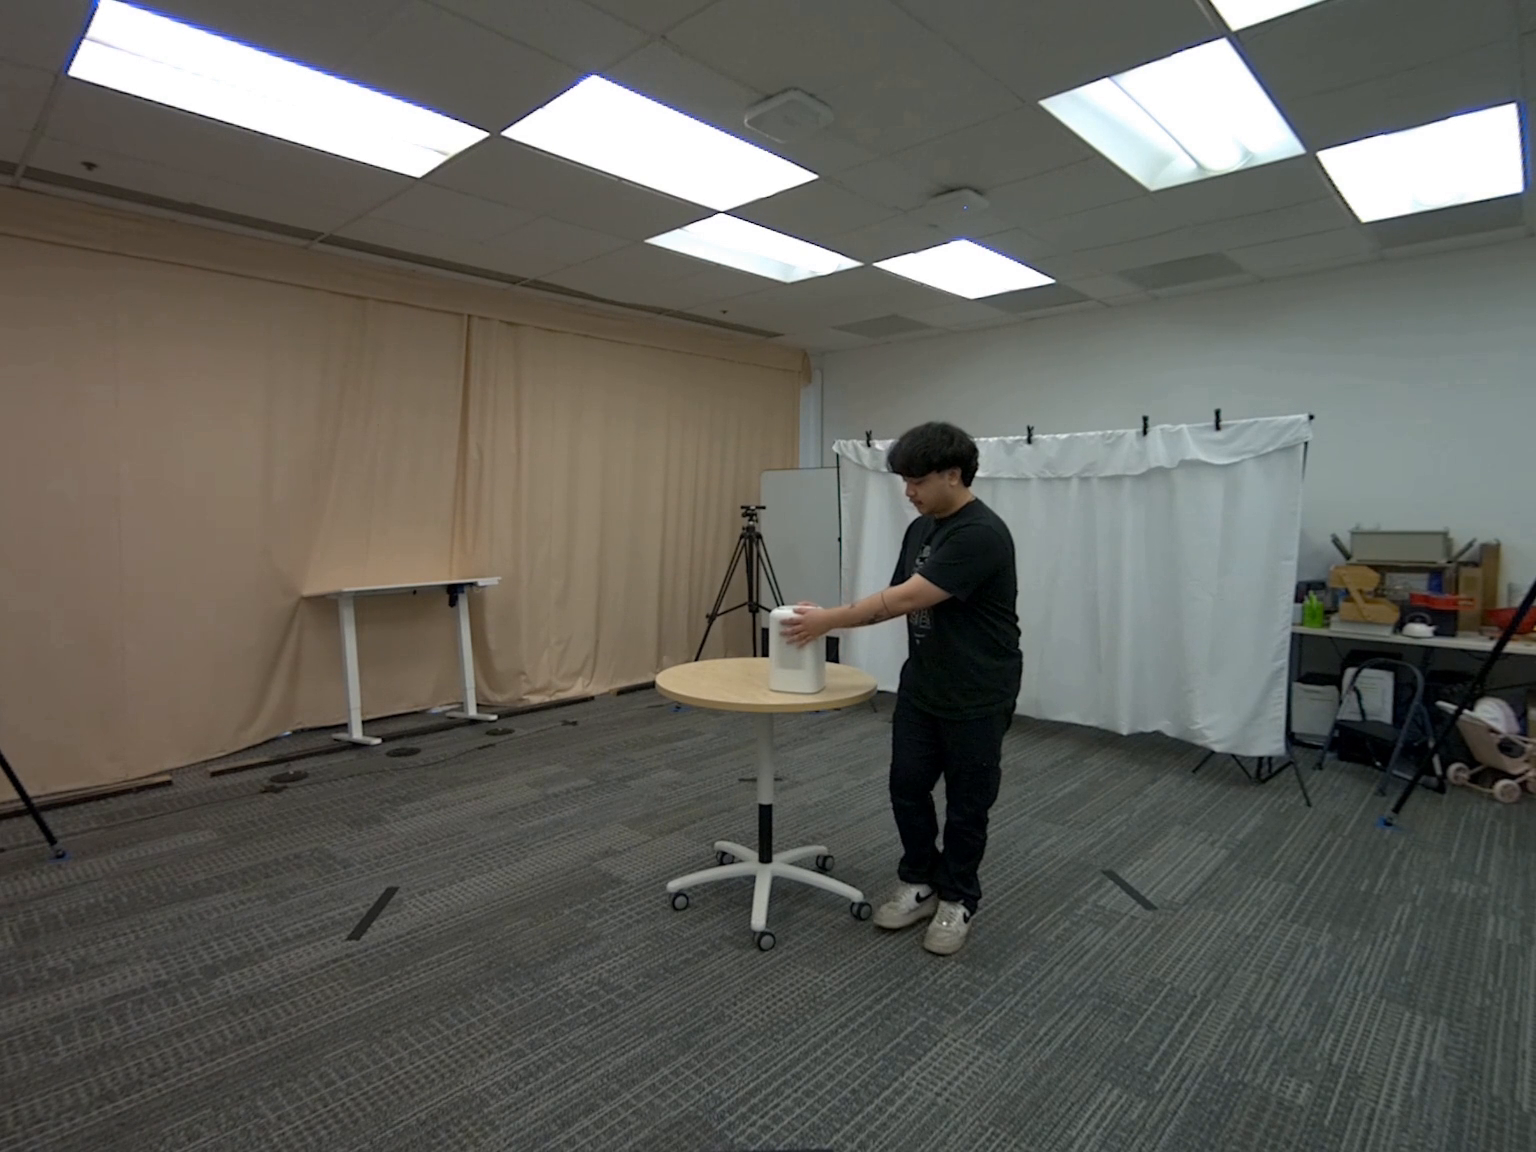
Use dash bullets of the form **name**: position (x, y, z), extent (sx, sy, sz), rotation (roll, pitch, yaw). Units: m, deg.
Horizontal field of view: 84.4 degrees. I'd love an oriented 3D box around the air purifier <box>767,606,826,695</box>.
- **air purifier**: position (0.103, 0.240, 2.768), extent (0.175, 0.265, 0.168), rotation (1, 3, 18)
